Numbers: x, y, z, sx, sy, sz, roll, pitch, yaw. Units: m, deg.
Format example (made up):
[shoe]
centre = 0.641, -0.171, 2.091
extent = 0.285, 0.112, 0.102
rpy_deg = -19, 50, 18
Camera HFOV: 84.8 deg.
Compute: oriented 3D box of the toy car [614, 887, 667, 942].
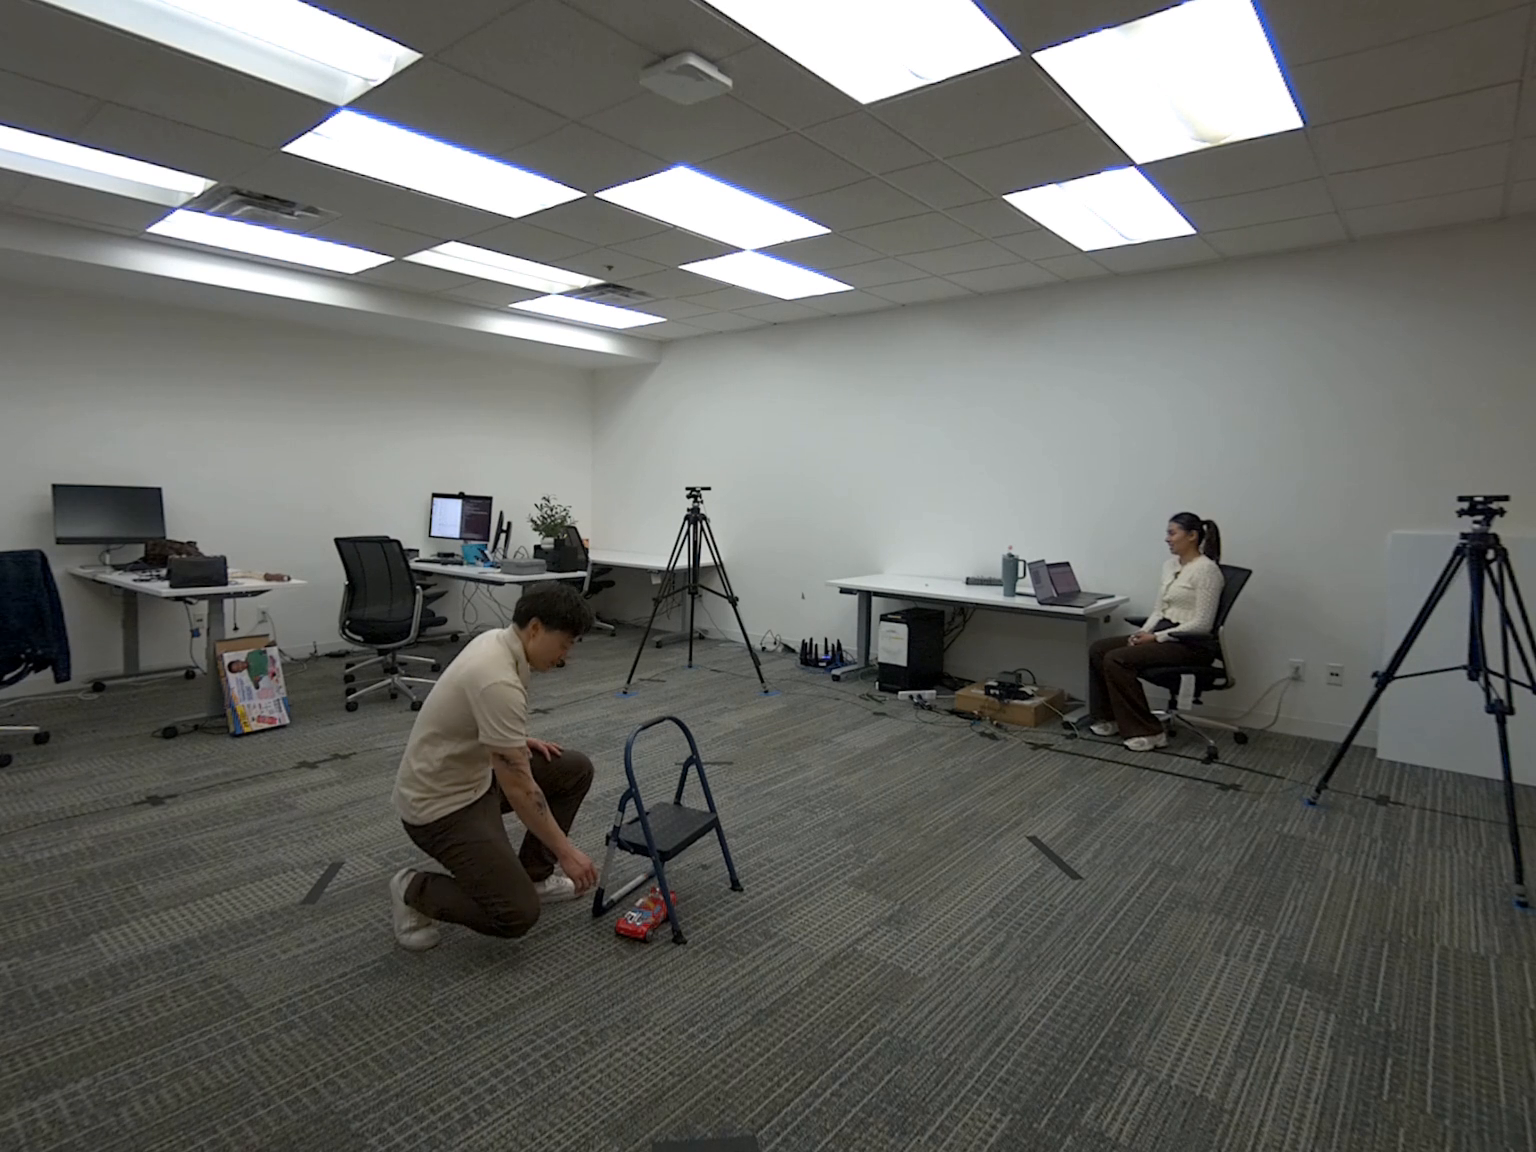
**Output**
[toy car]
centre = -0.391, 1.076, 2.698
extent = 0.133, 0.082, 0.252
rpy_deg = 3, 18, 22
